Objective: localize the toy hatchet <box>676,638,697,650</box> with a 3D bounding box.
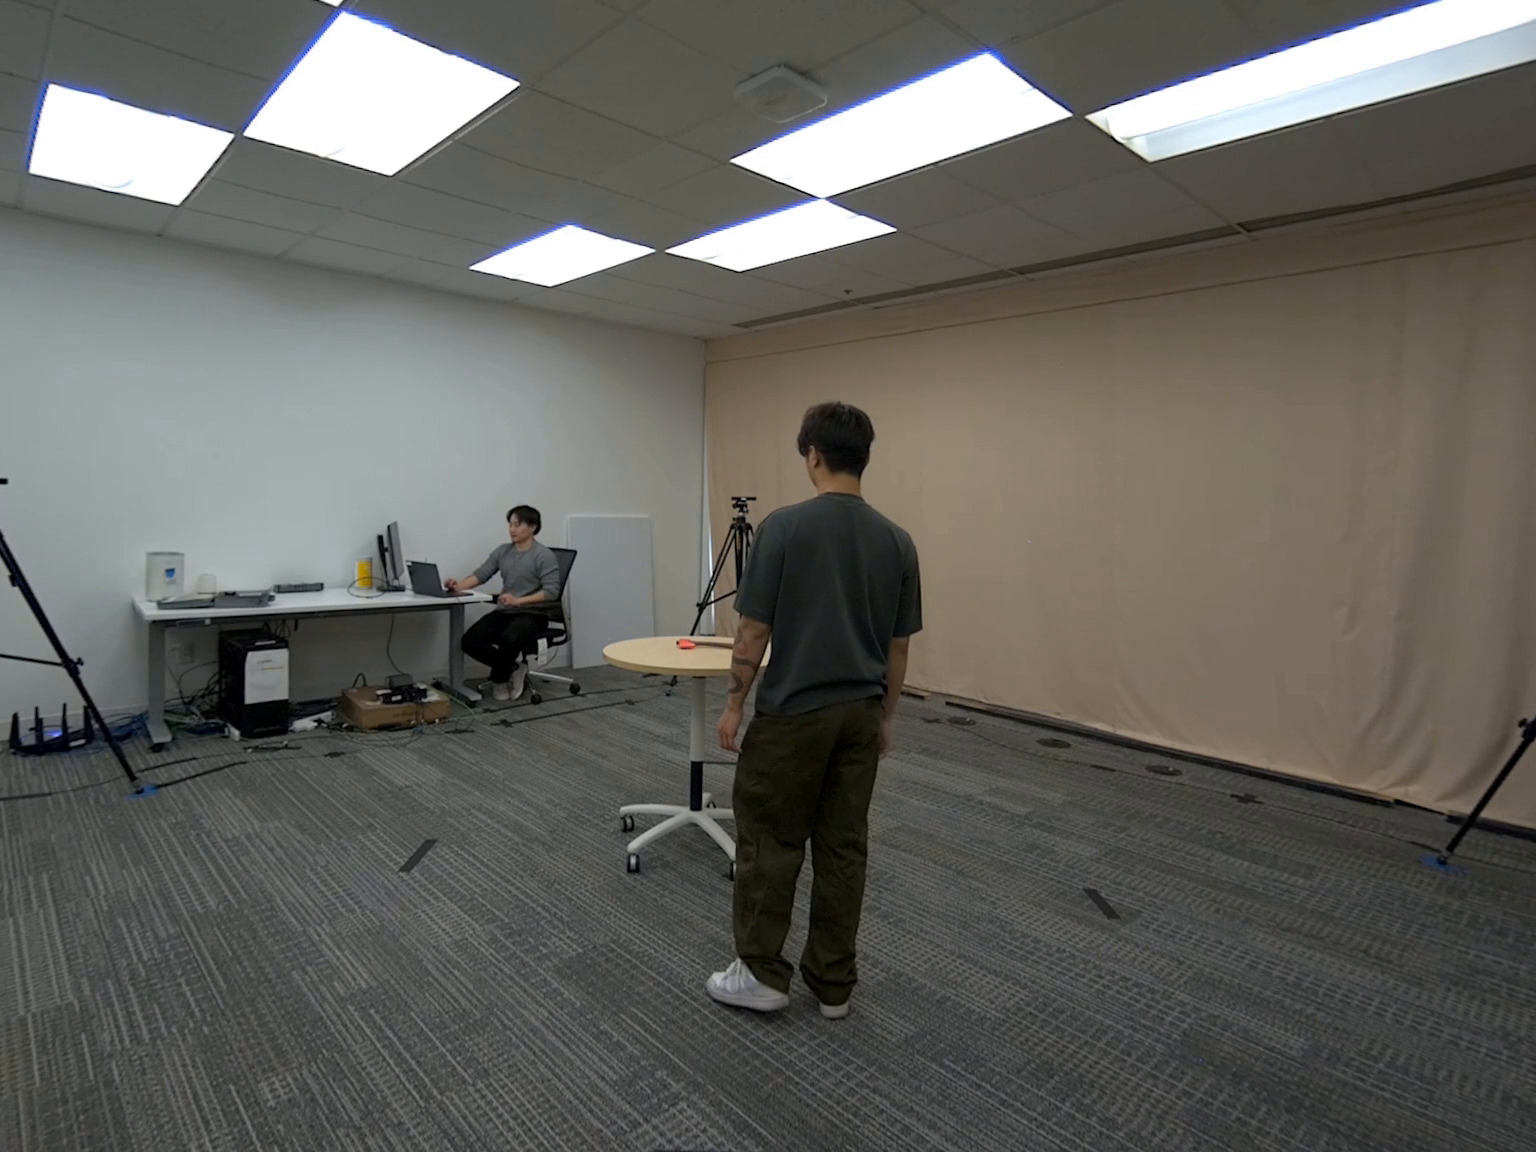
[{"bbox_3d":[-0.255,0.284,3.408,0.275,0.029,0.129,5,7,21],"label":"toy hatchet"}]
